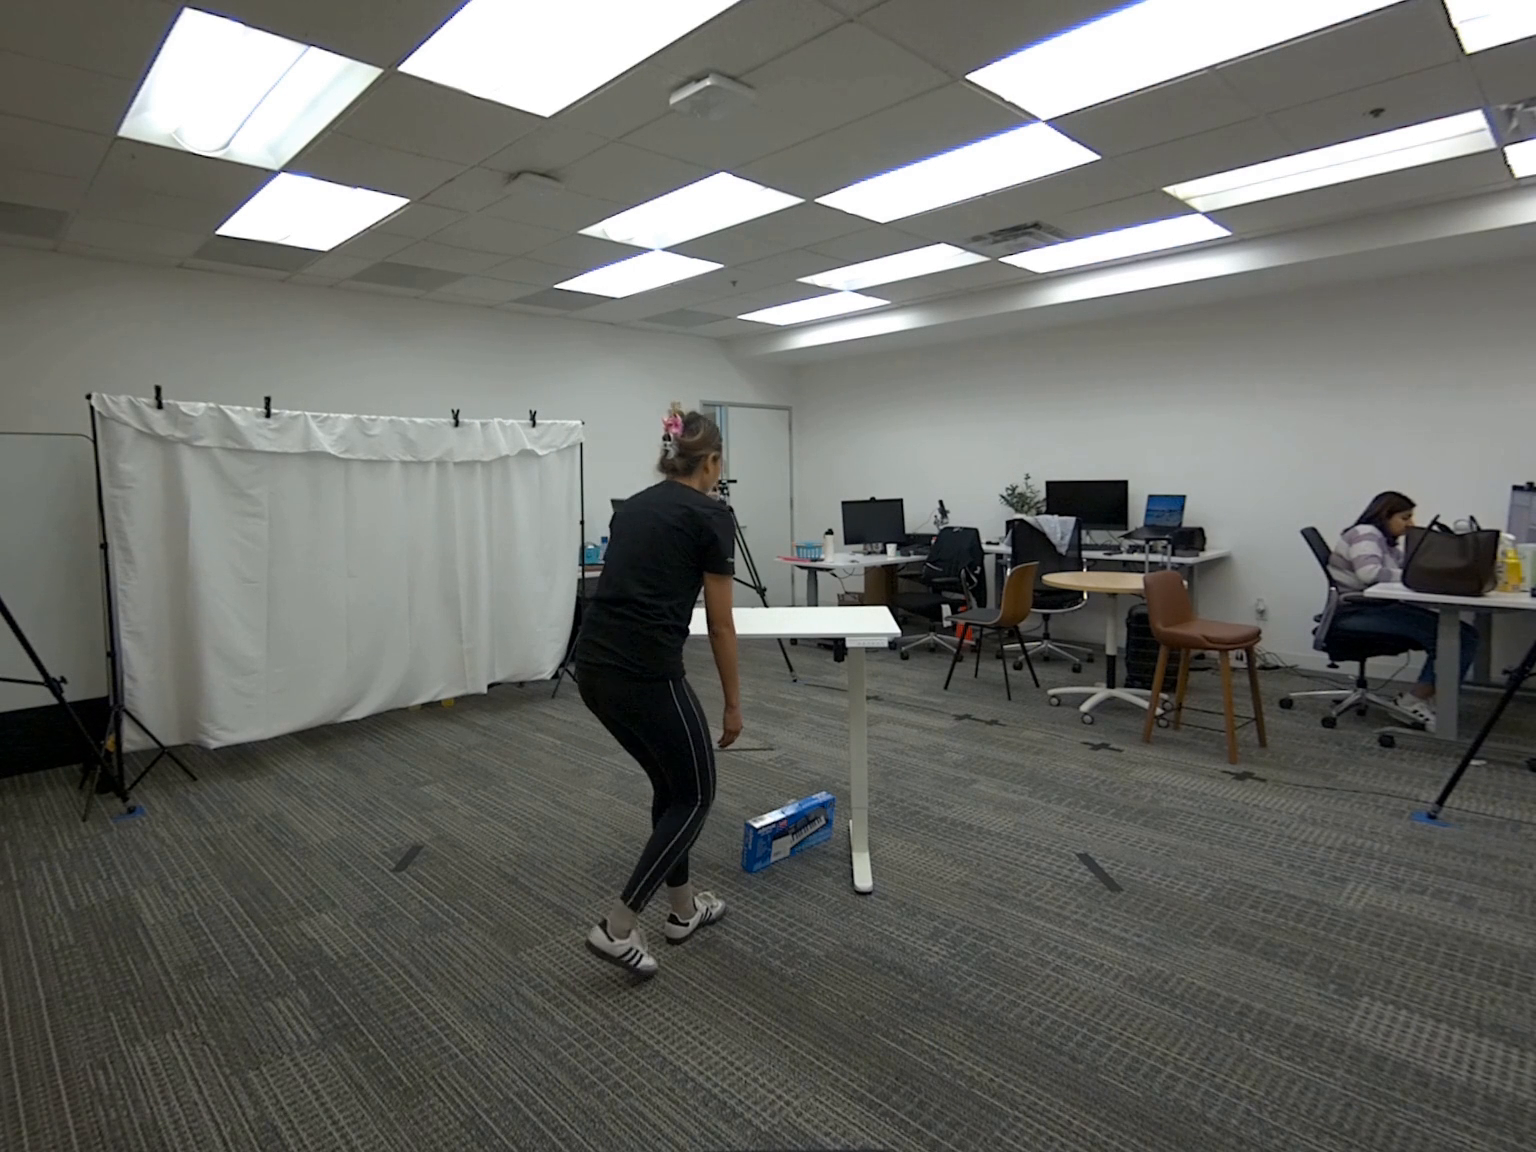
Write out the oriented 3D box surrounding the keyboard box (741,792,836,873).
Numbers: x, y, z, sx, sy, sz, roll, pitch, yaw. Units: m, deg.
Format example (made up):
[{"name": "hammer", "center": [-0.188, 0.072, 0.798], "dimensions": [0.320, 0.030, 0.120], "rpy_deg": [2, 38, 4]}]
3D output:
[{"name": "keyboard box", "center": [0.083, 0.949, 3.186], "dimensions": [0.425, 0.174, 0.061], "rpy_deg": [-7, 14, -44]}]
